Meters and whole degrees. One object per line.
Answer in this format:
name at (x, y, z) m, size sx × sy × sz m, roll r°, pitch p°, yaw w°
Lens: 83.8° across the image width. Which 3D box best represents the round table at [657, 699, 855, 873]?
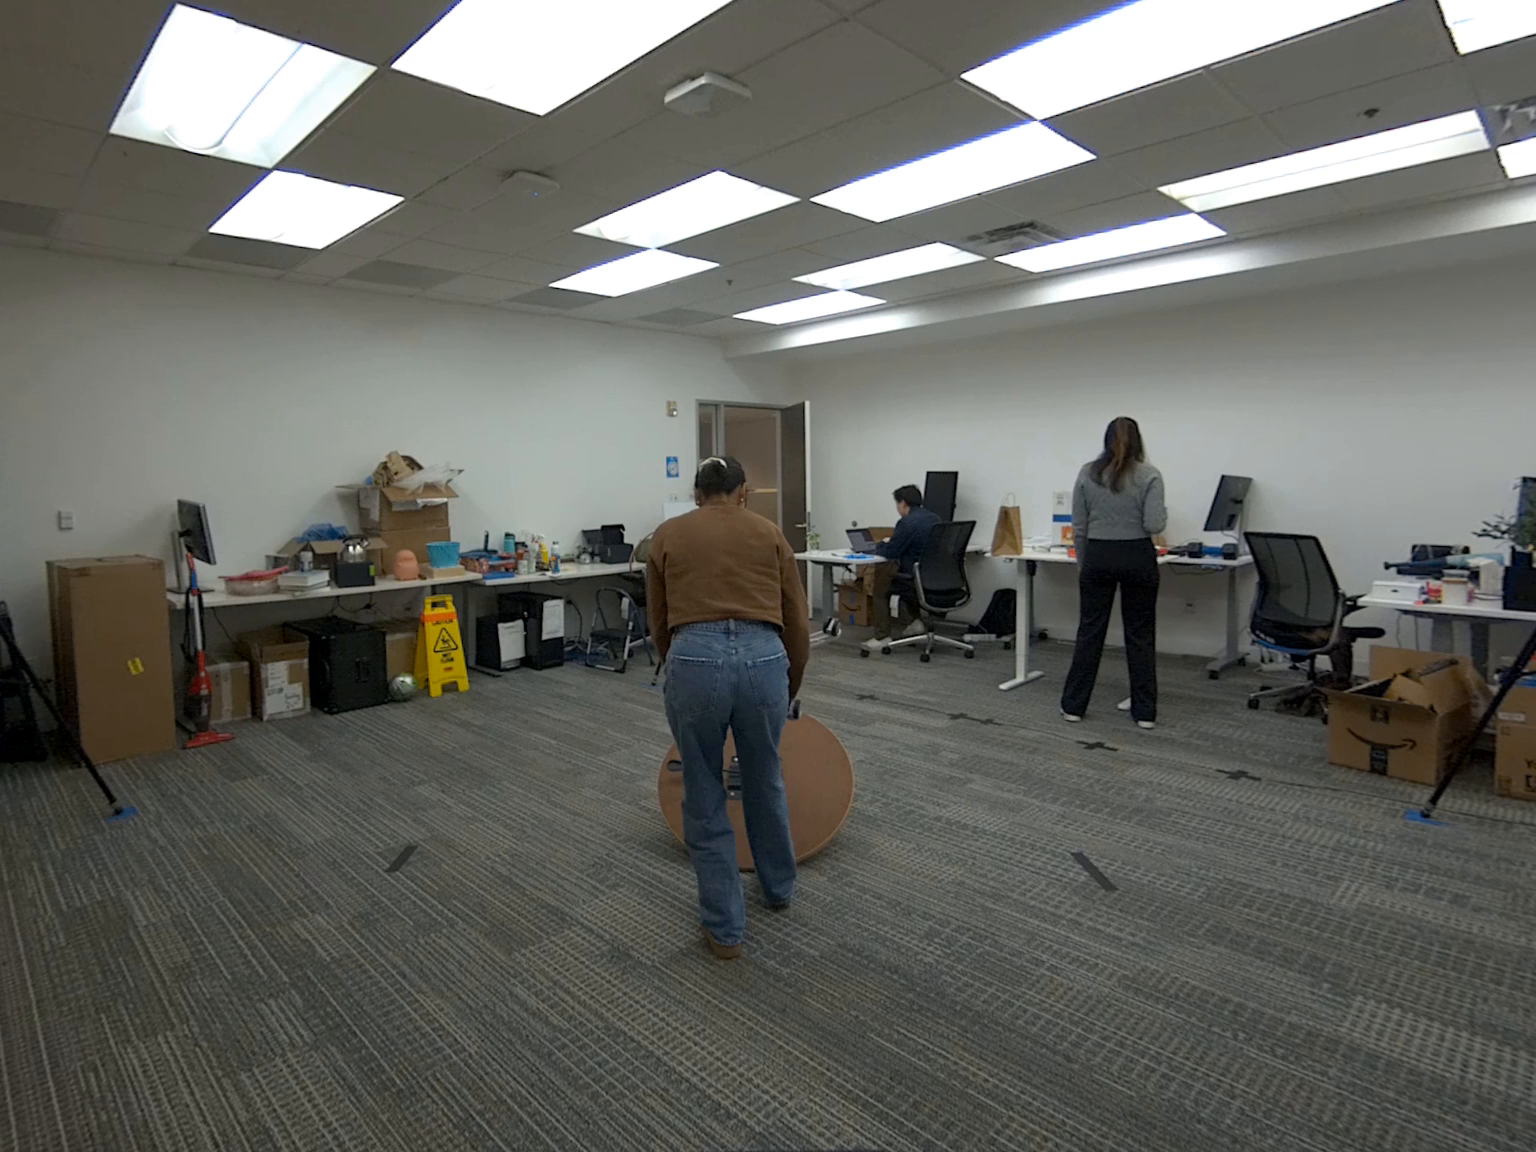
round table at (-0.078, 0.509, 3.122) m, size 0.765 × 0.772 × 0.784 m, roll -4°, pitch 37°, yaw 1°
